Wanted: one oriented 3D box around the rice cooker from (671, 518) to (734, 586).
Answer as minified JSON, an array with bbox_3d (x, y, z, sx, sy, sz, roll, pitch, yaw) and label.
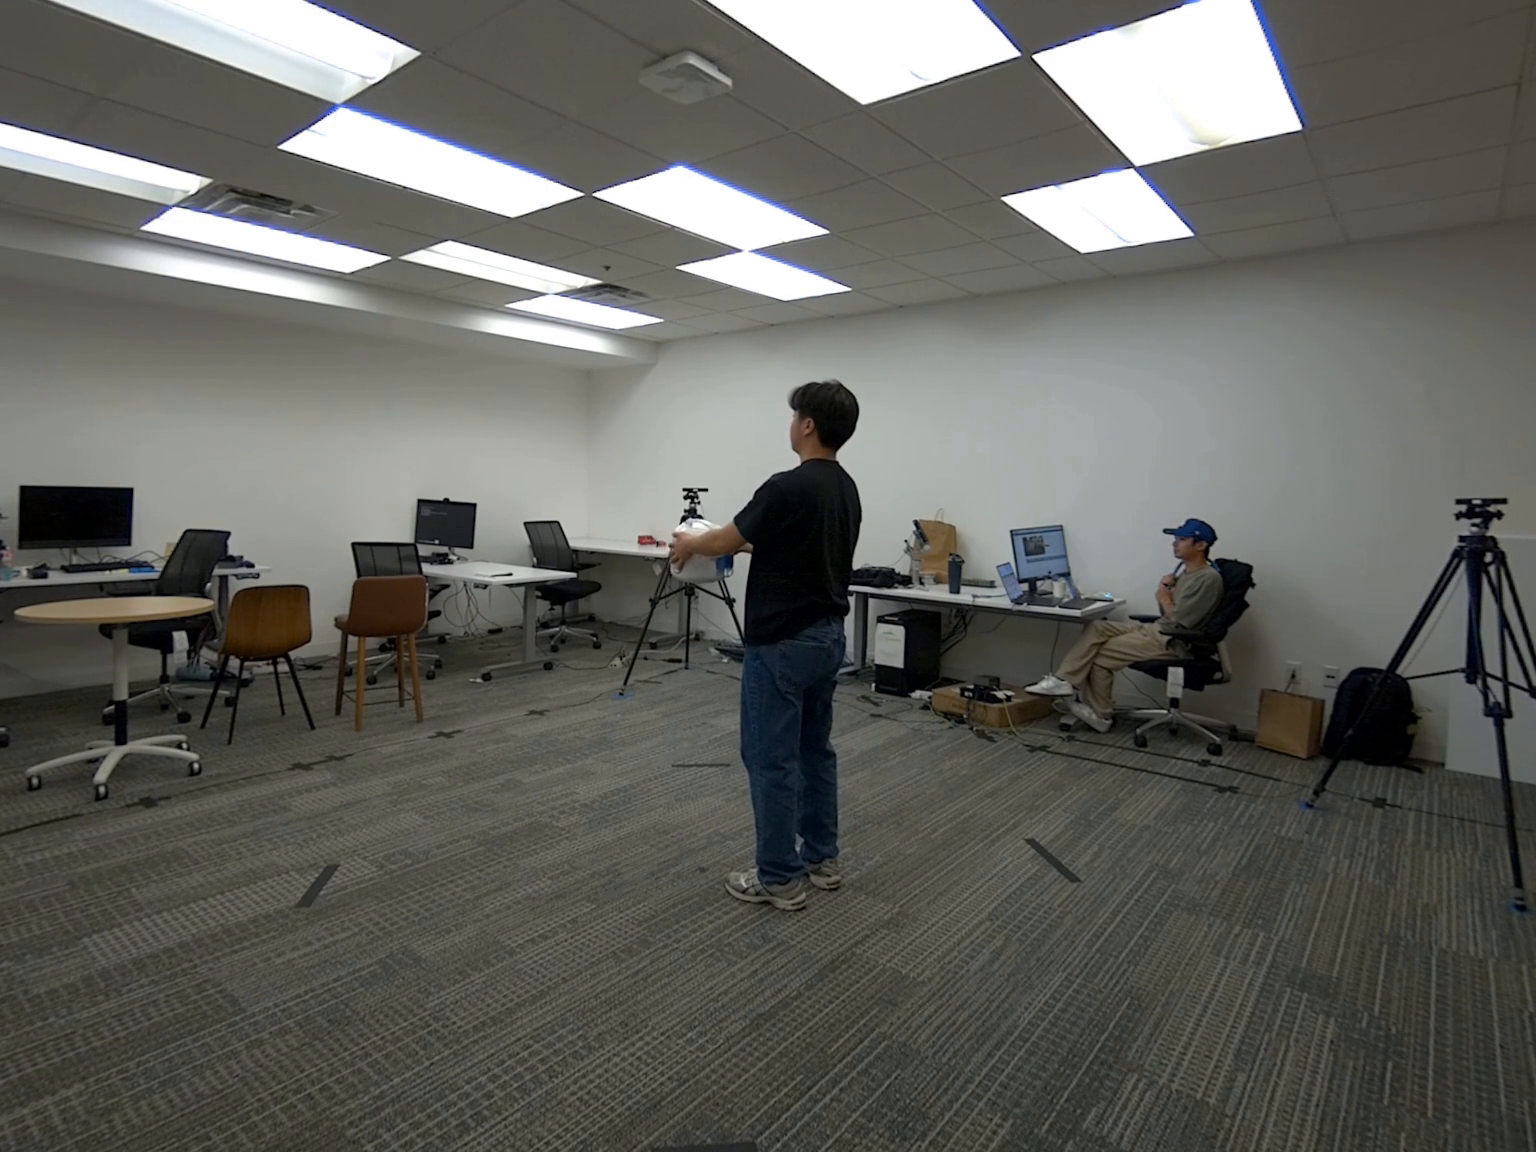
[{"bbox_3d":[-0.272,-0.106,3.259,0.229,0.230,0.211,15,16,42],"label":"rice cooker"}]
